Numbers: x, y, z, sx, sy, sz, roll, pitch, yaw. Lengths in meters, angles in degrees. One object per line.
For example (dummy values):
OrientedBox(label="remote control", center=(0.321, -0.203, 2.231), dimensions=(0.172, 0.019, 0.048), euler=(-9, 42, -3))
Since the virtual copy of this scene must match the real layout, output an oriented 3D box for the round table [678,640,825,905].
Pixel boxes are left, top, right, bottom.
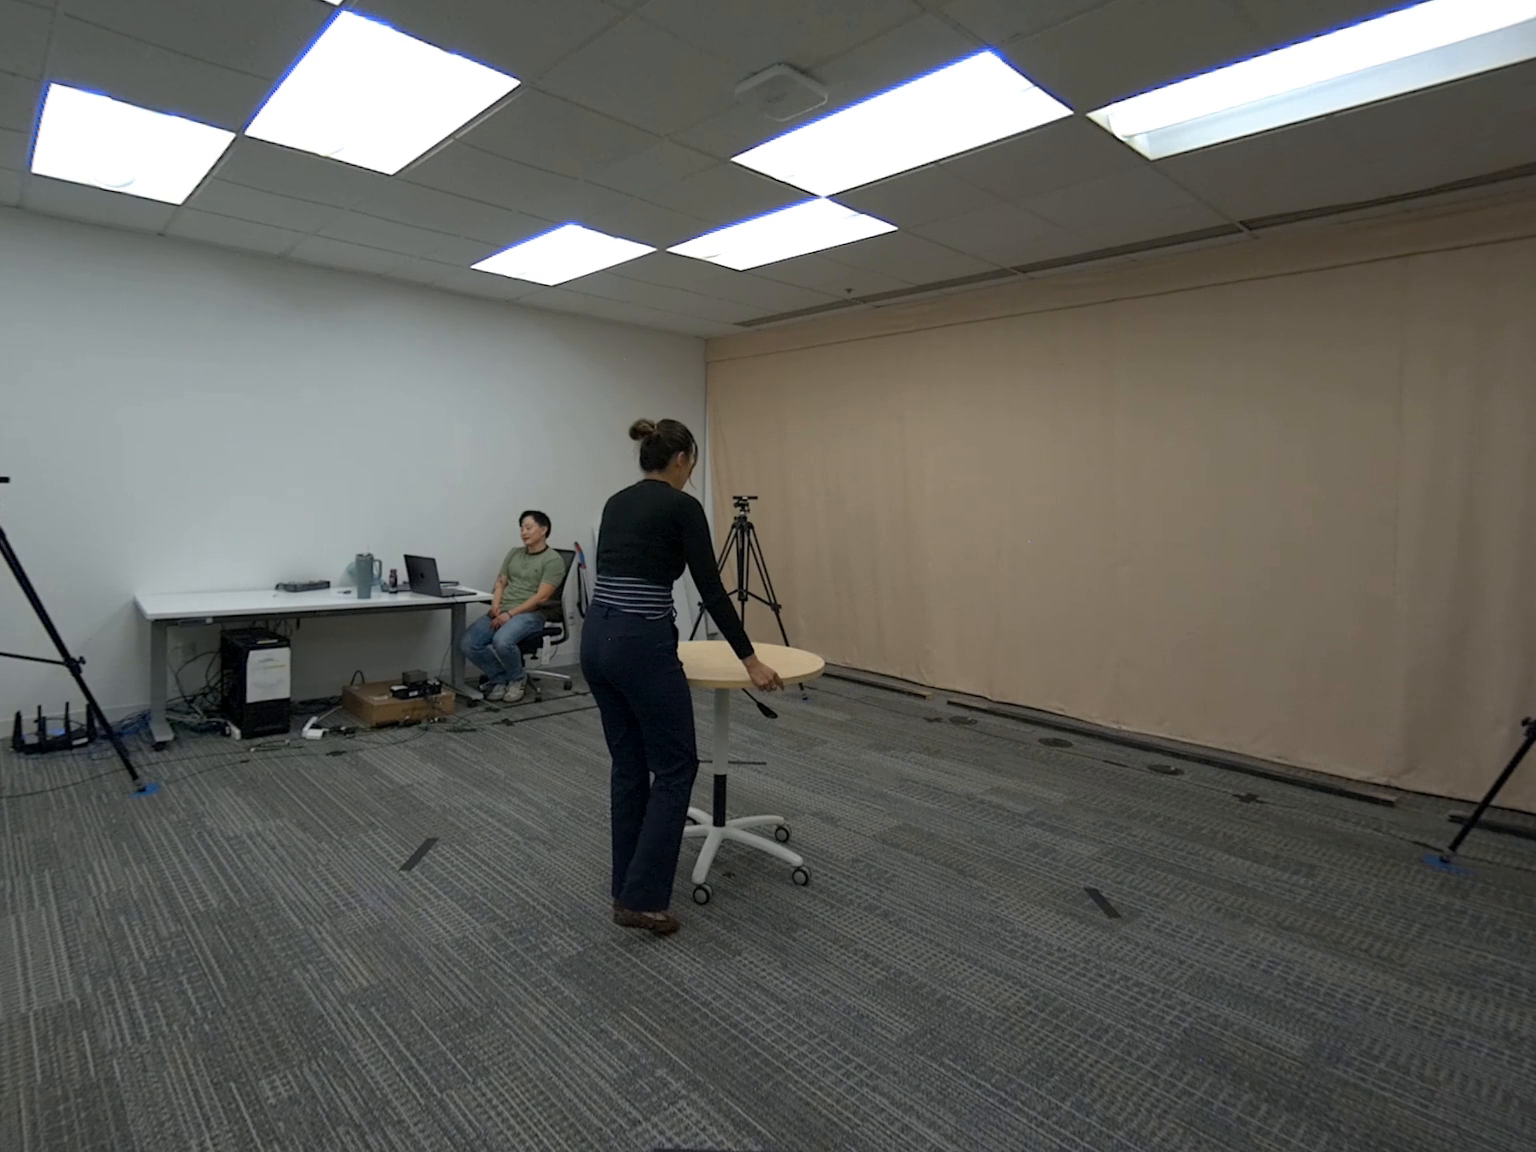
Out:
OrientedBox(label="round table", center=(-0.182, 0.705, 3.198), dimensions=(0.763, 0.792, 0.766), euler=(1, 4, -1))
